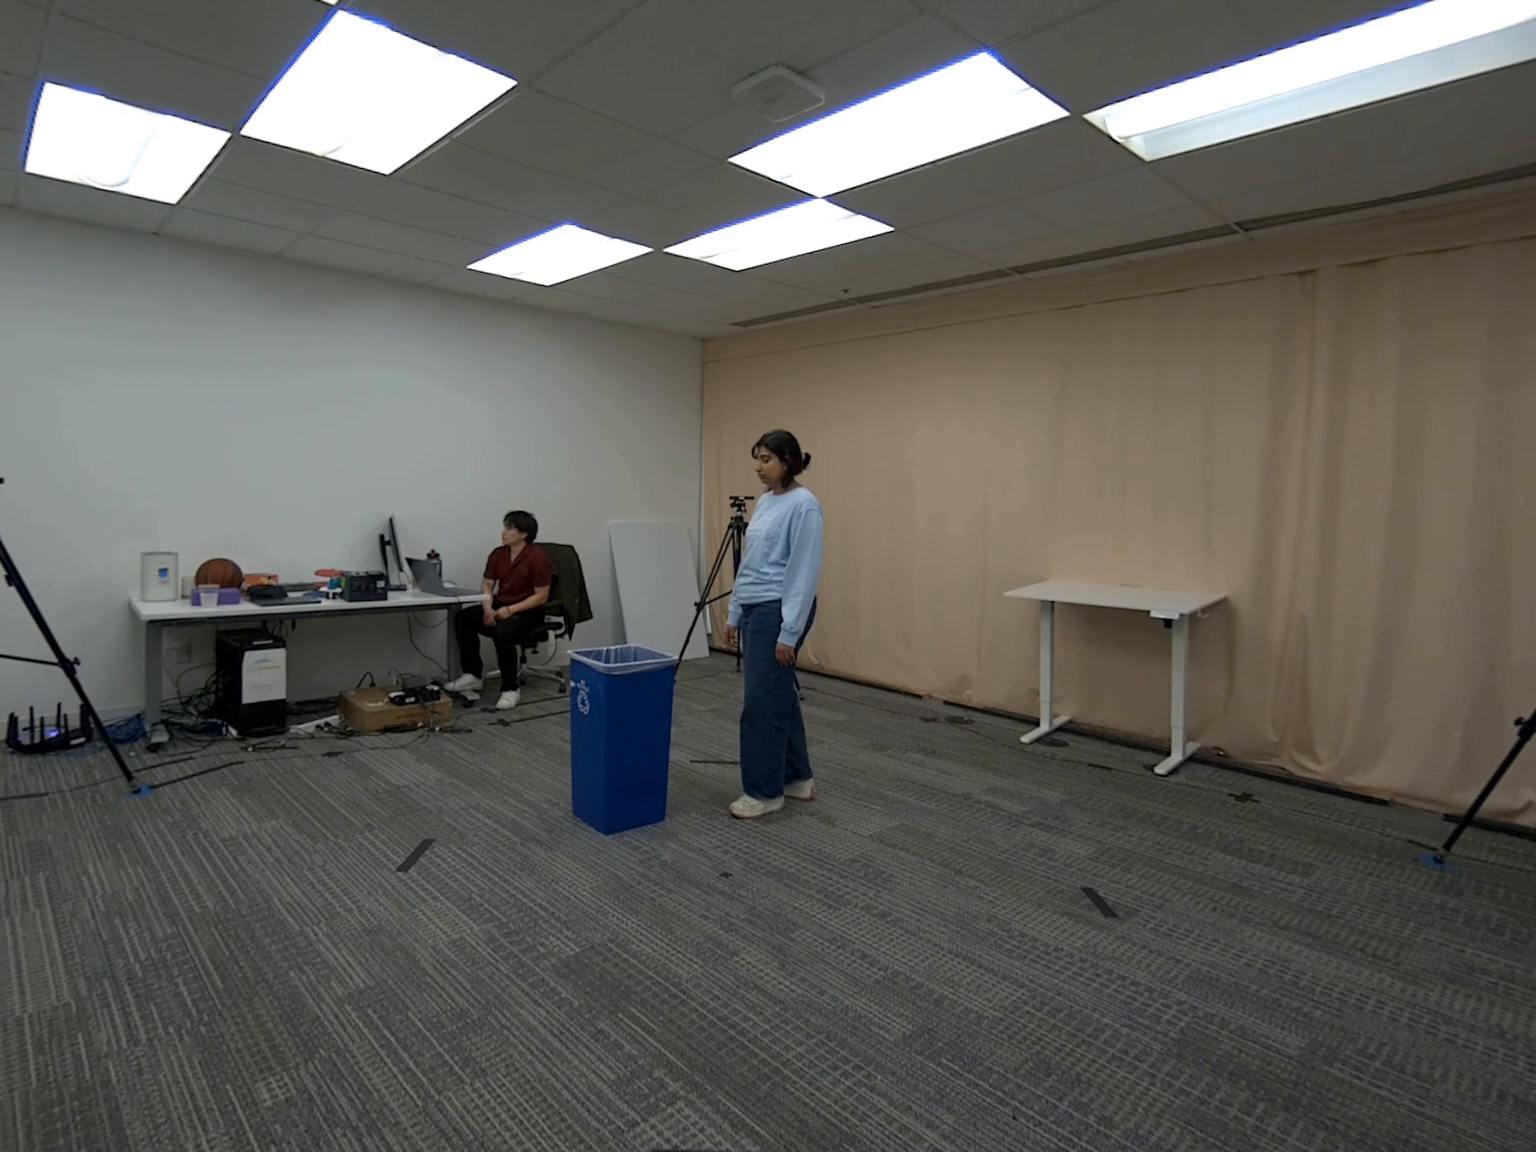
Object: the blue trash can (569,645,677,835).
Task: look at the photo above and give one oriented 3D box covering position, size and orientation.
[{"bbox_3d":[-0.646,0.690,3.622,0.365,0.712,0.388,-1,5,-40],"label":"blue trash can"}]
